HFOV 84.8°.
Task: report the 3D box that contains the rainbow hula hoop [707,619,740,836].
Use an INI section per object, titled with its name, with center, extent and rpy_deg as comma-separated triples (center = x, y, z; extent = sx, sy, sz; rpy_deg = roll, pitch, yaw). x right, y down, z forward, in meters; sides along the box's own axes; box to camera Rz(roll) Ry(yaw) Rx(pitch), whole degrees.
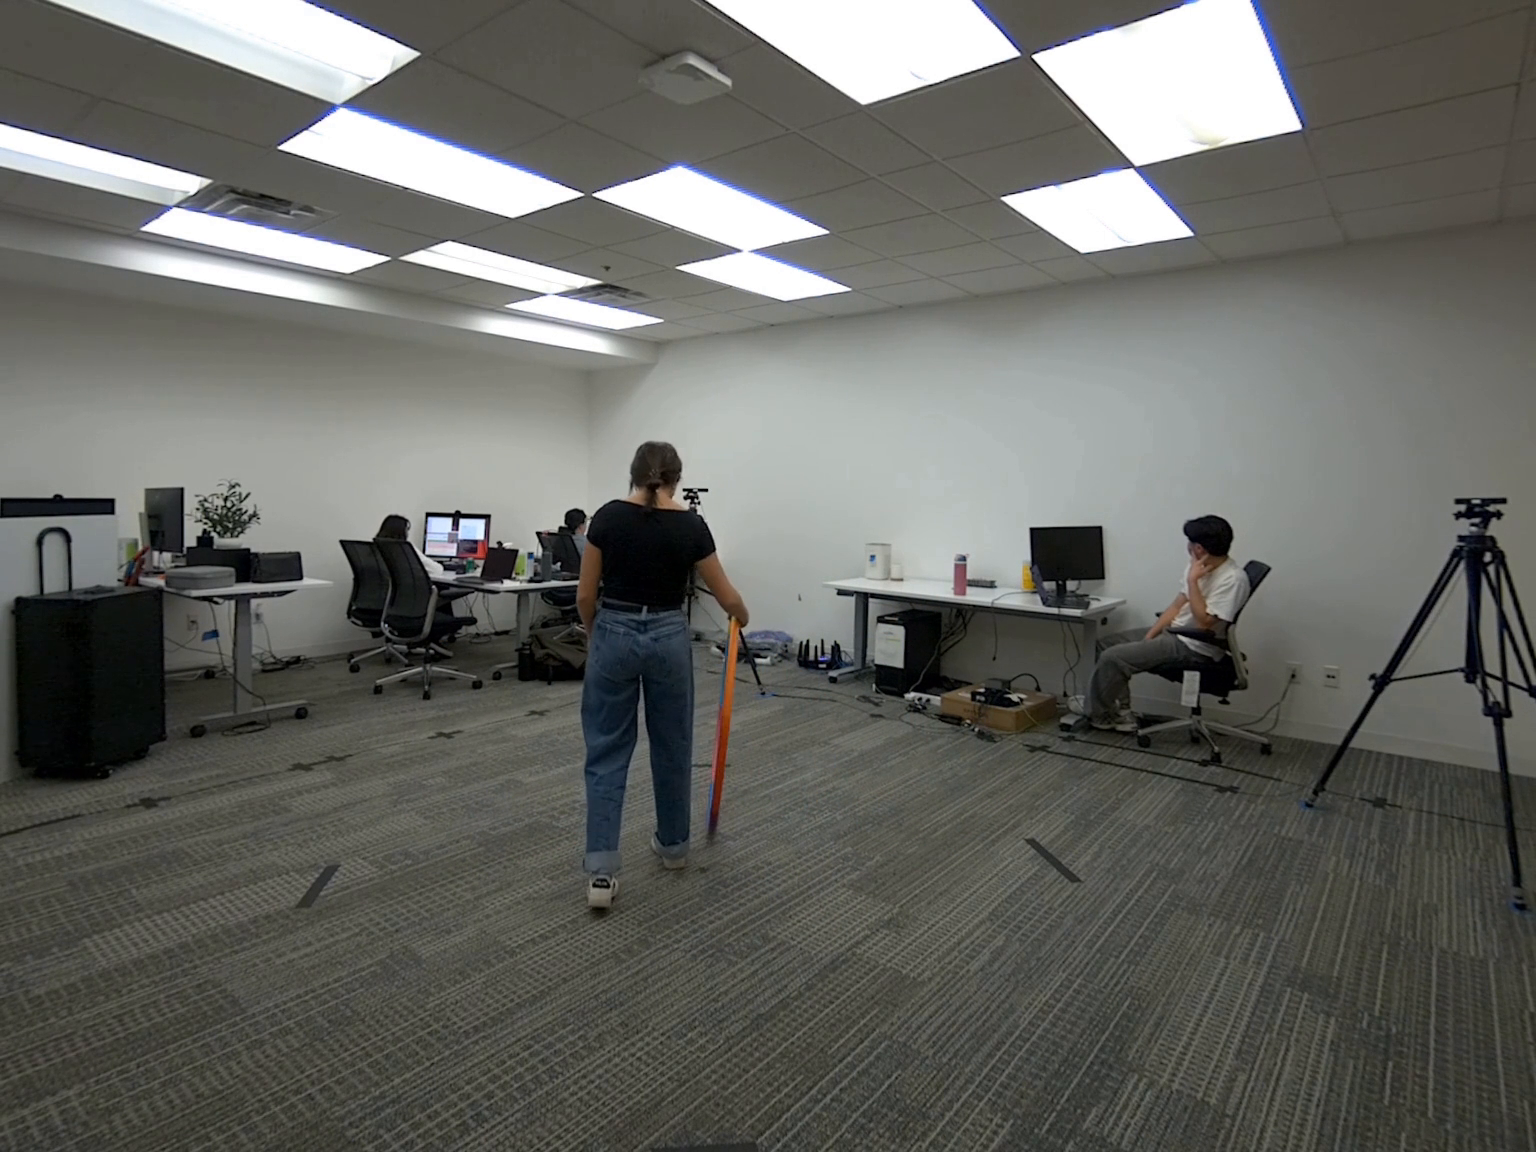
[rainbow hula hoop]
center = -0.180, 0.551, 3.501
extent = 0.035, 0.976, 0.983
rpy_deg = 6, 4, -3
